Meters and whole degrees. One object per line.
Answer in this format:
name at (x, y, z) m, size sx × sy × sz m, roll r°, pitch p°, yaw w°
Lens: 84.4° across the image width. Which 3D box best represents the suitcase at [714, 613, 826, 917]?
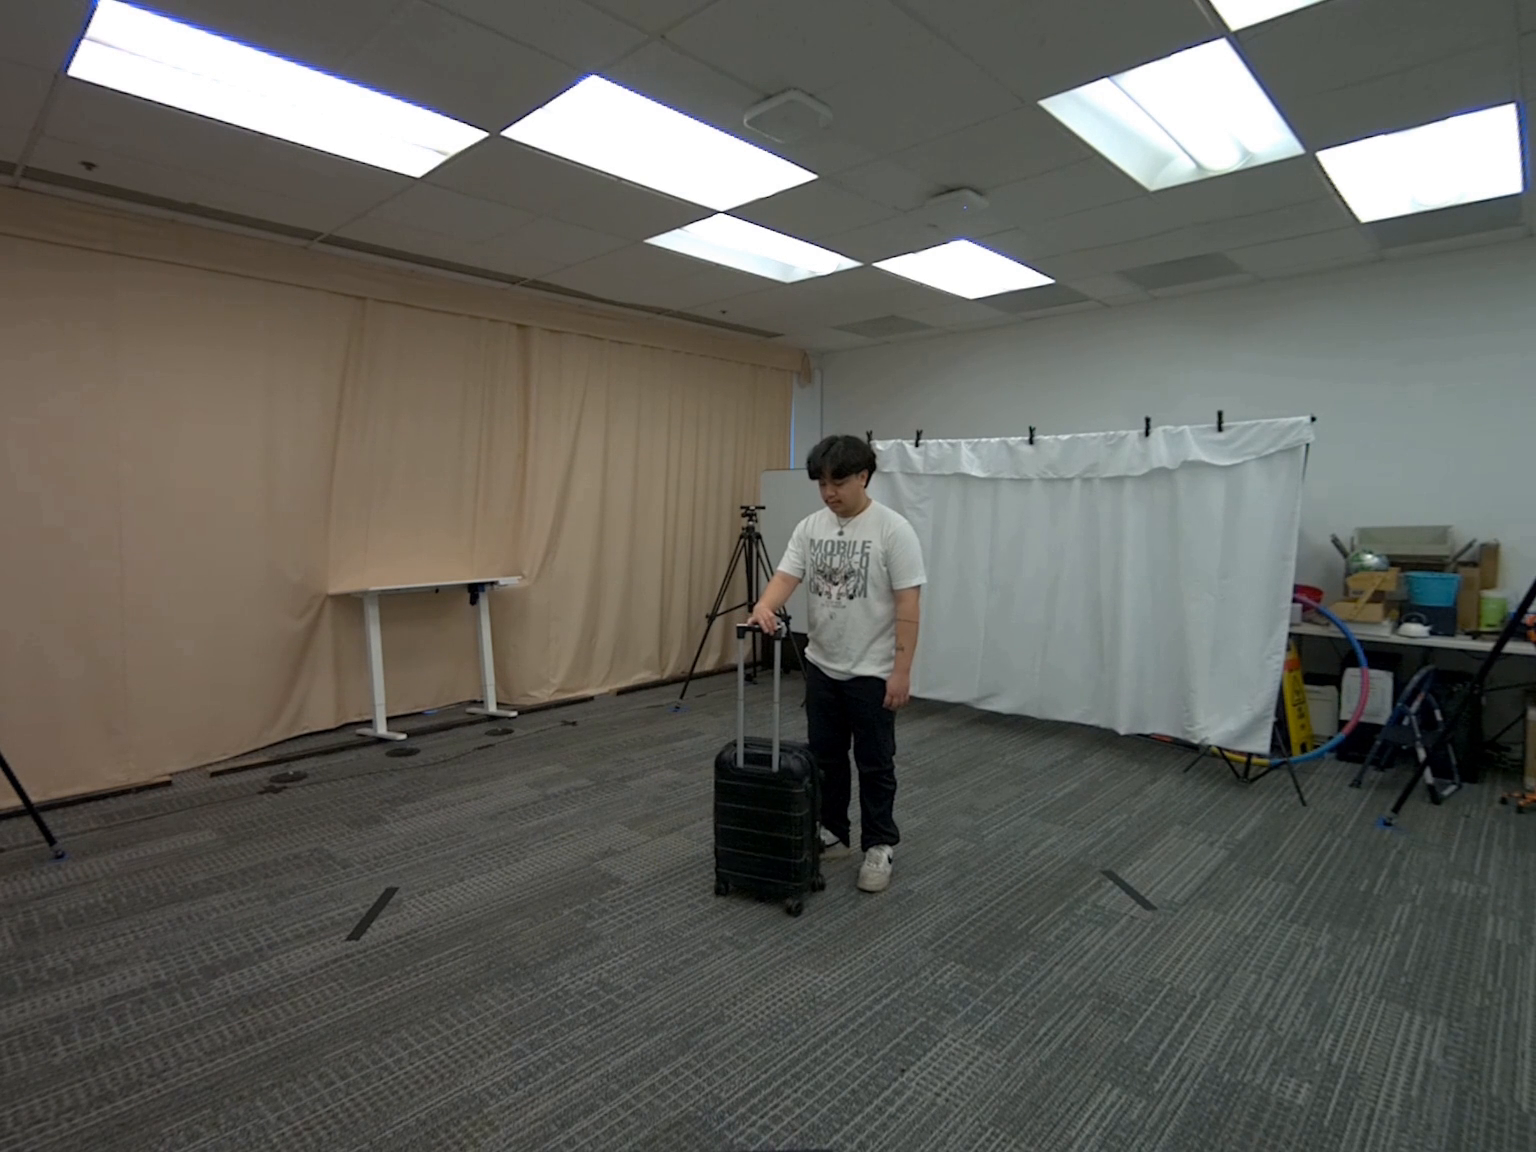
suitcase at (0.001, 0.667, 3.016) m, size 0.393 × 0.978 × 0.251 m, roll 1°, pitch 0°, yaw 22°
